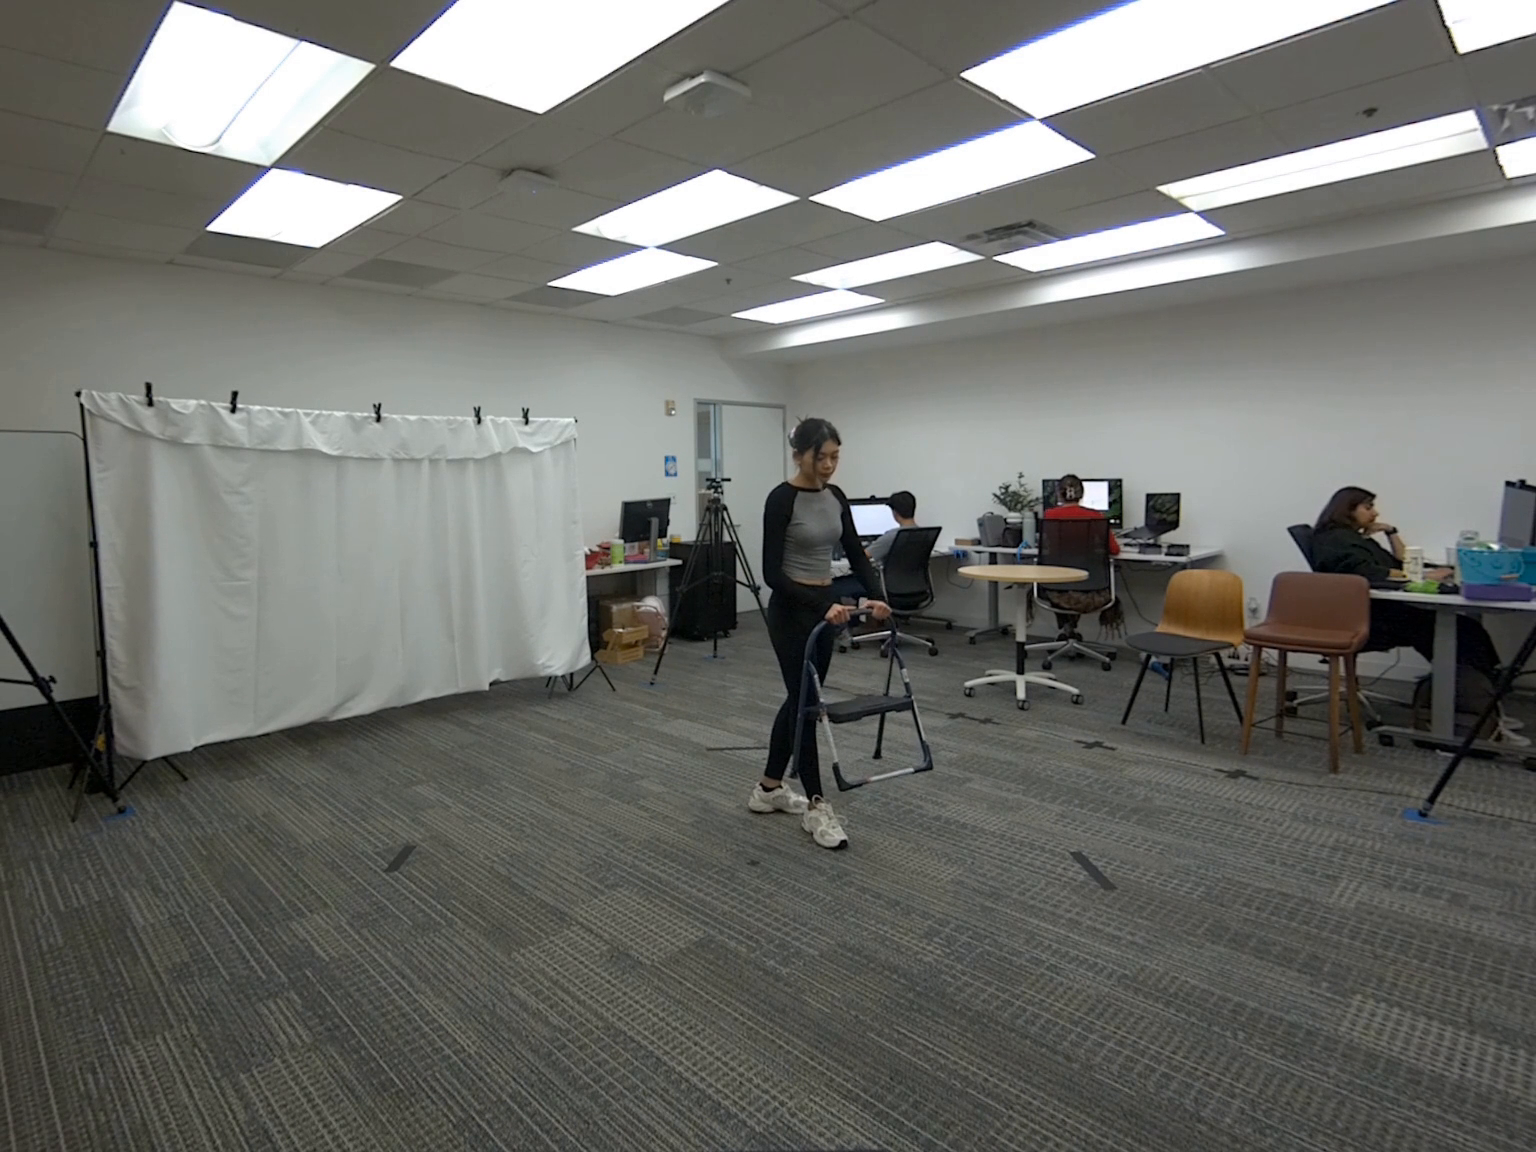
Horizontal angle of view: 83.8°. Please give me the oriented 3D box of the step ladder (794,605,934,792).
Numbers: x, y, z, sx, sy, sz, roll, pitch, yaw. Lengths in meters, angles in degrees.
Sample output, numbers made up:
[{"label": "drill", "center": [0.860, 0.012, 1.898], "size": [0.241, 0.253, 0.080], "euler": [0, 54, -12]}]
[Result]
[{"label": "step ladder", "center": [0.317, 0.436, 3.180], "size": [0.421, 0.608, 0.356], "euler": [-5, -3, -30]}]
